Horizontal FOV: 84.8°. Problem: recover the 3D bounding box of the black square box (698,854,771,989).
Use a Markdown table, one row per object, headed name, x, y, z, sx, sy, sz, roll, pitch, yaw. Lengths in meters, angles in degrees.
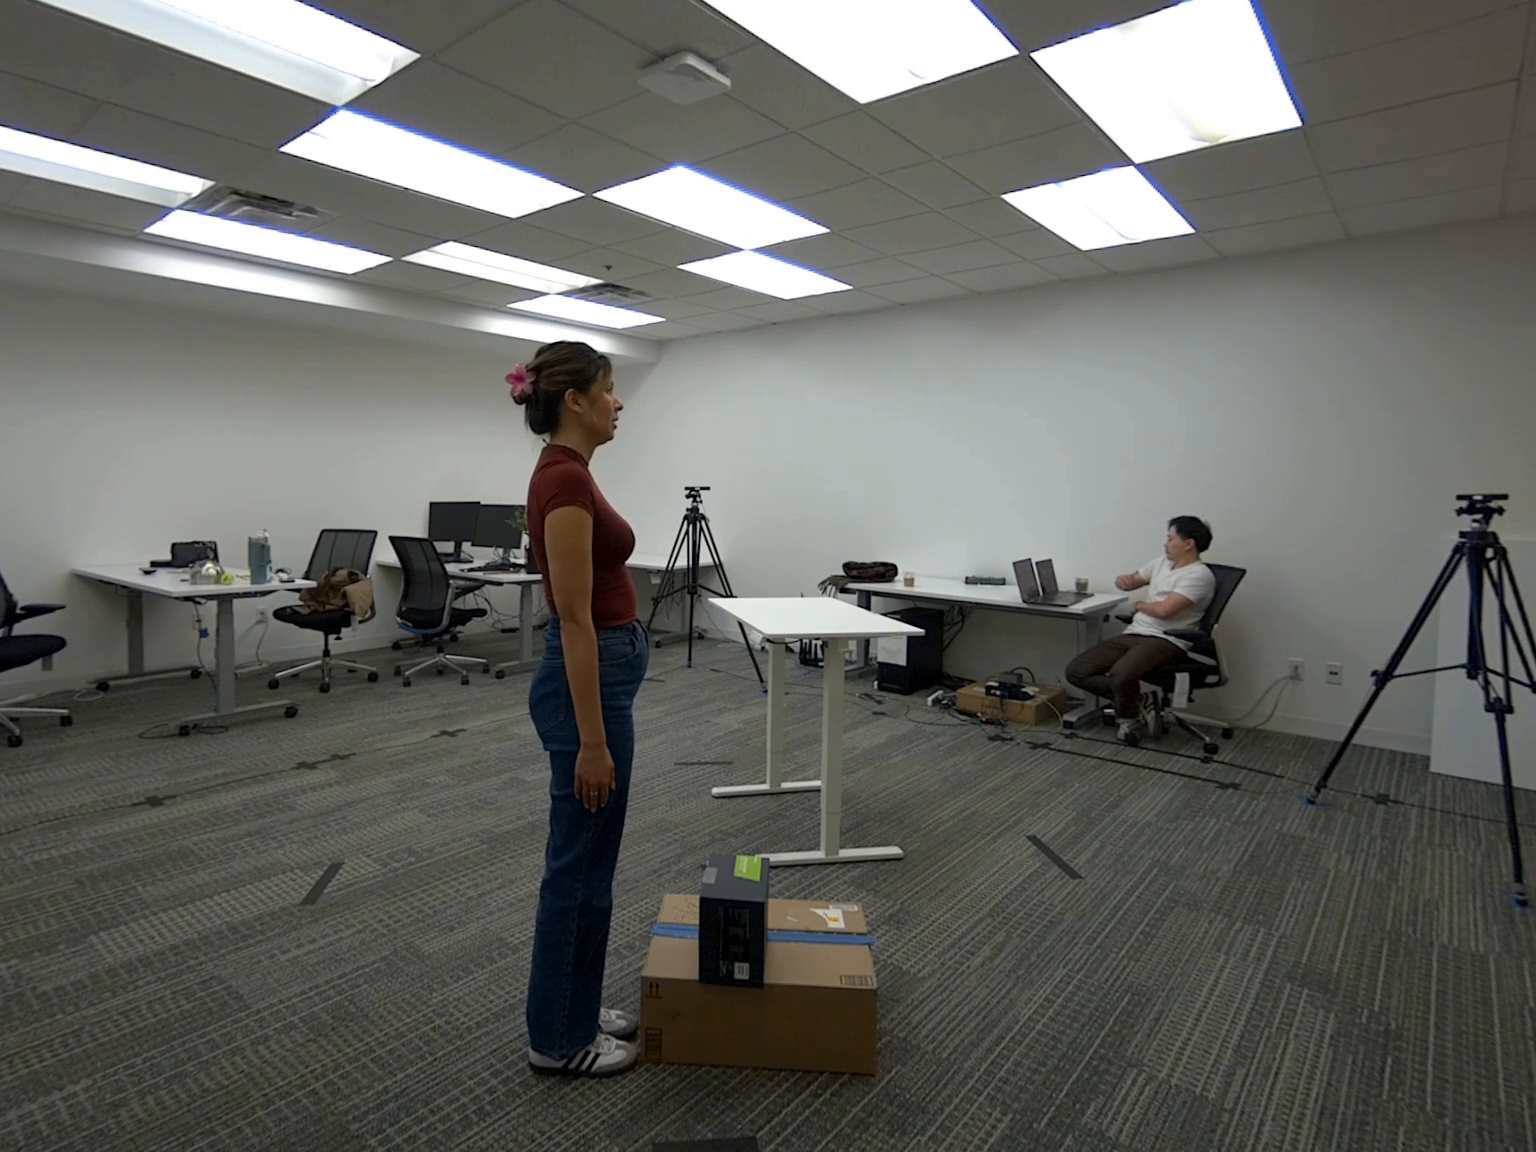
| name | x | y | z | sx | sy | sz | roll | pitch | yaw |
| --- | --- | --- | --- | --- | --- | --- | --- | --- | --- |
| black square box | -0.088 | 0.843 | 2.102 | 0.157 | 0.215 | 0.228 | 2 | 8 | 3 |
